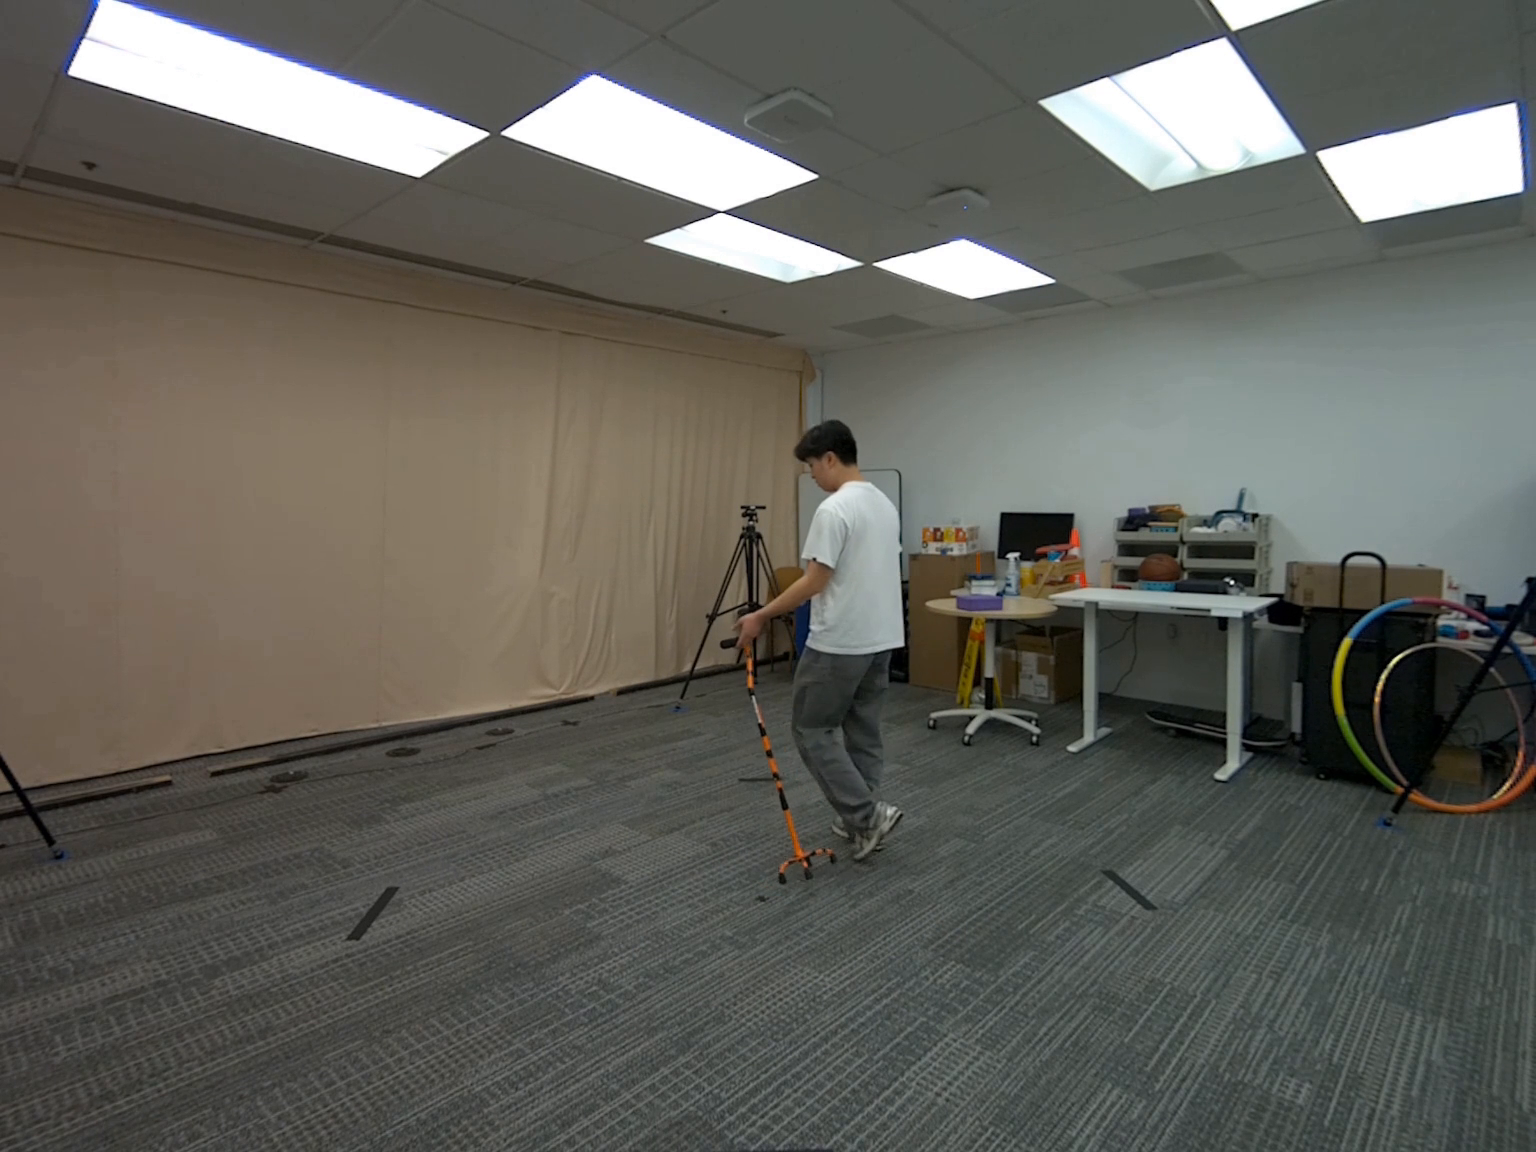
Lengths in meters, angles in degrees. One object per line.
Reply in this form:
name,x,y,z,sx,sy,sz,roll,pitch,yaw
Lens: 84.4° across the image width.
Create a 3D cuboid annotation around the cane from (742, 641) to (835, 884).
cane,0.023,0.681,3.214,0.155,0.916,0.200,-25,-11,35
